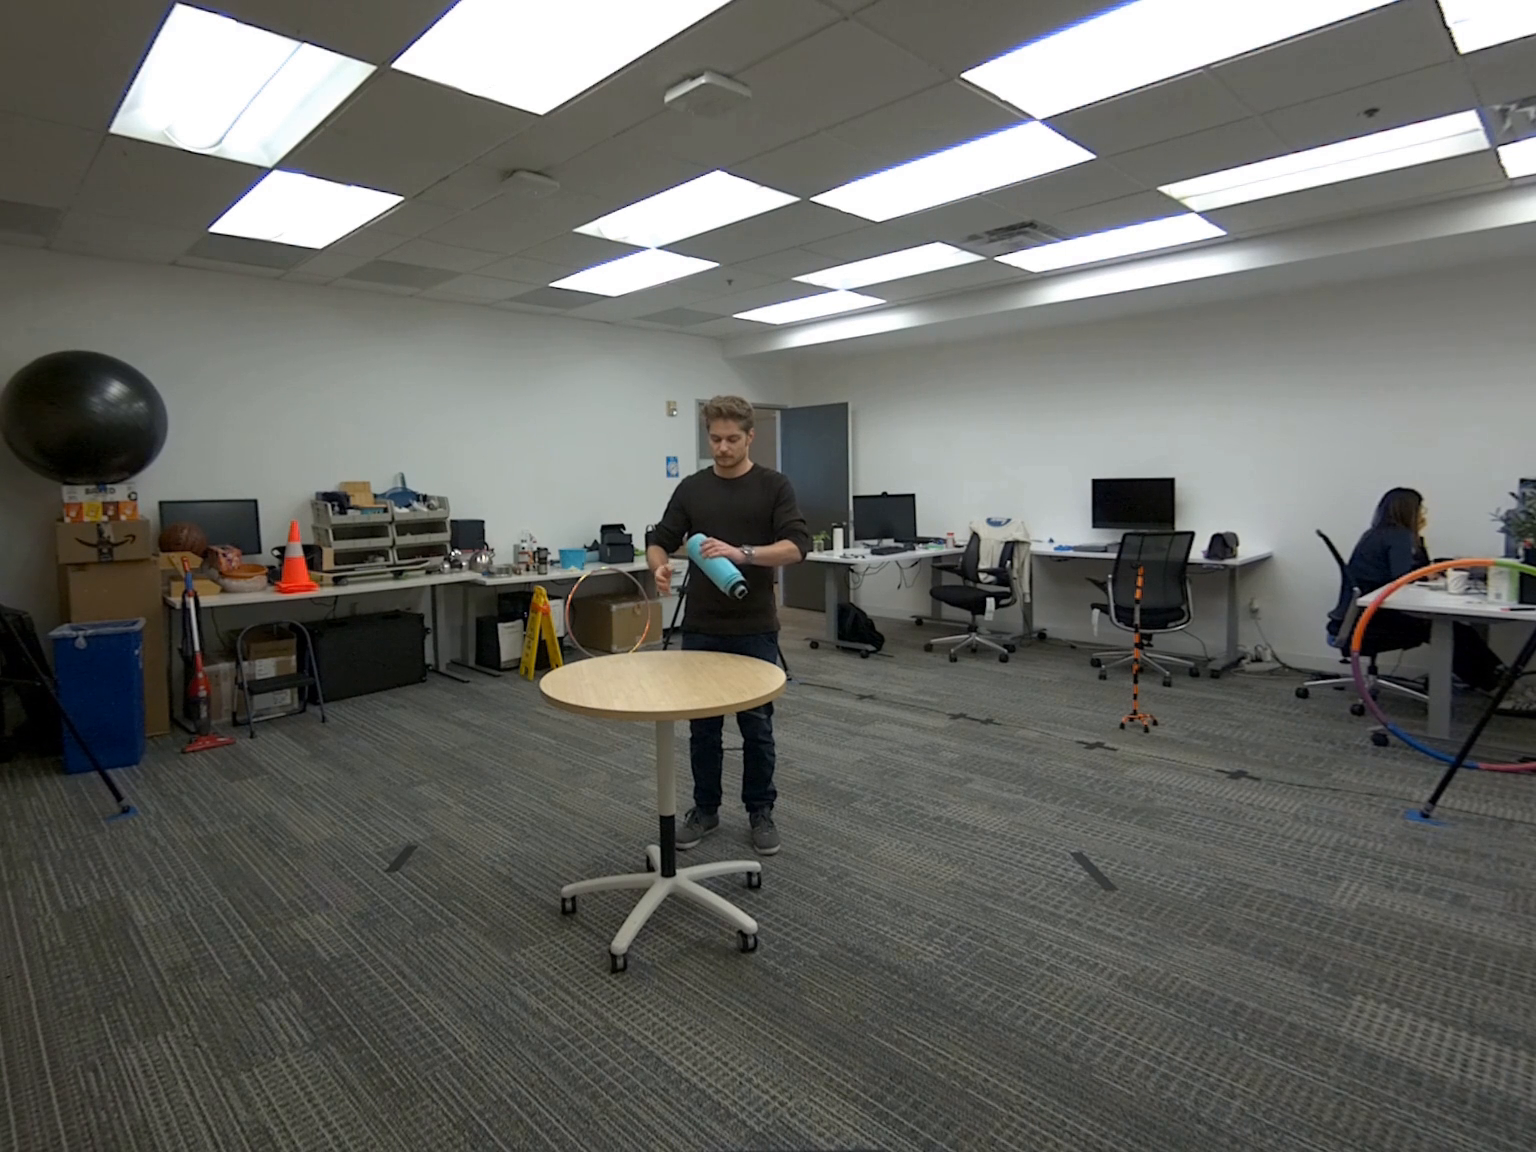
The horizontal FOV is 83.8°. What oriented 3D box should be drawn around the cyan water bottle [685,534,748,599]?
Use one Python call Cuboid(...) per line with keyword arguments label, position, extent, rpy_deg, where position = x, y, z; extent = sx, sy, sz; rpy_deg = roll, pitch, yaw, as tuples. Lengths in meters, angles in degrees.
Cuboid(label="cyan water bottle", position=(-0.173, -0.023, 2.922), extent=(0.090, 0.091, 0.294), rpy_deg=(-5, 41, -46))
